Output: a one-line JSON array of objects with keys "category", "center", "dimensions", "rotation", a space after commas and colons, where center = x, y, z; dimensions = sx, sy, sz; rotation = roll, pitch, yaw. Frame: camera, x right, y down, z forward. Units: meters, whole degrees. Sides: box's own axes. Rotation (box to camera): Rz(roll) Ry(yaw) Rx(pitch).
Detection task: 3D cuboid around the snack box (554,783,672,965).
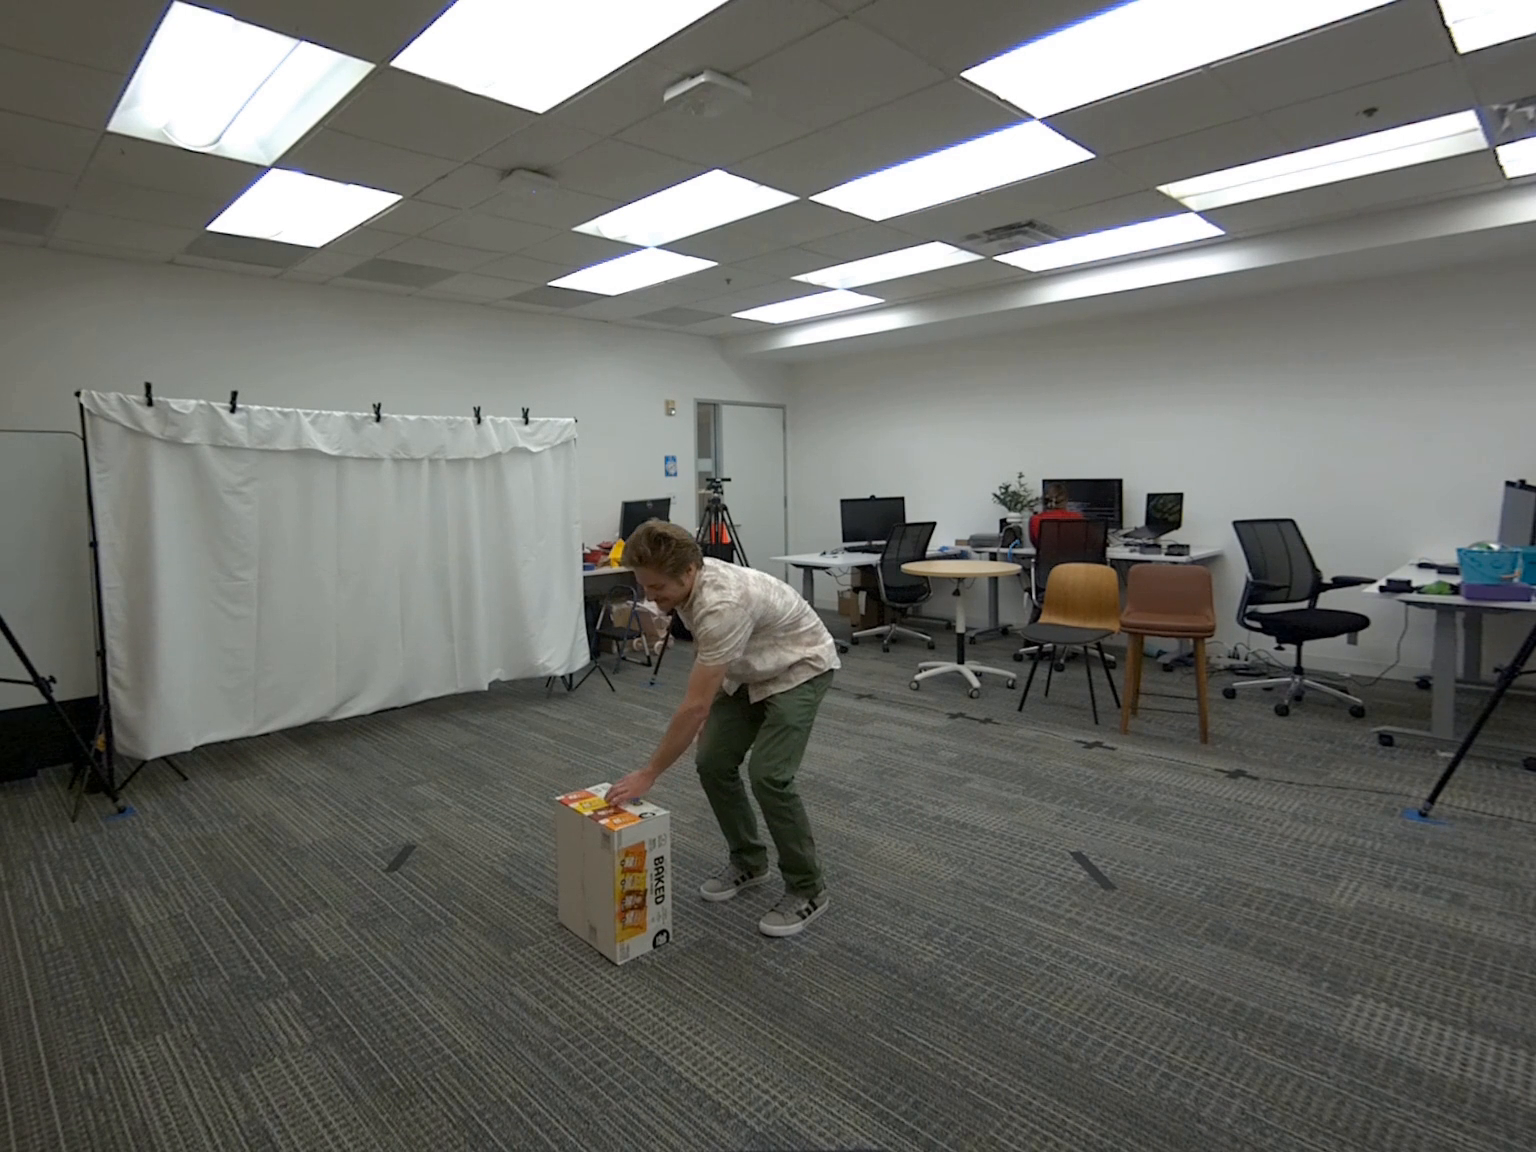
[{"category": "snack box", "center": [-0.479, 0.904, 2.636], "dimensions": [0.200, 0.403, 0.351], "rotation": [-5, 6, -42]}]
